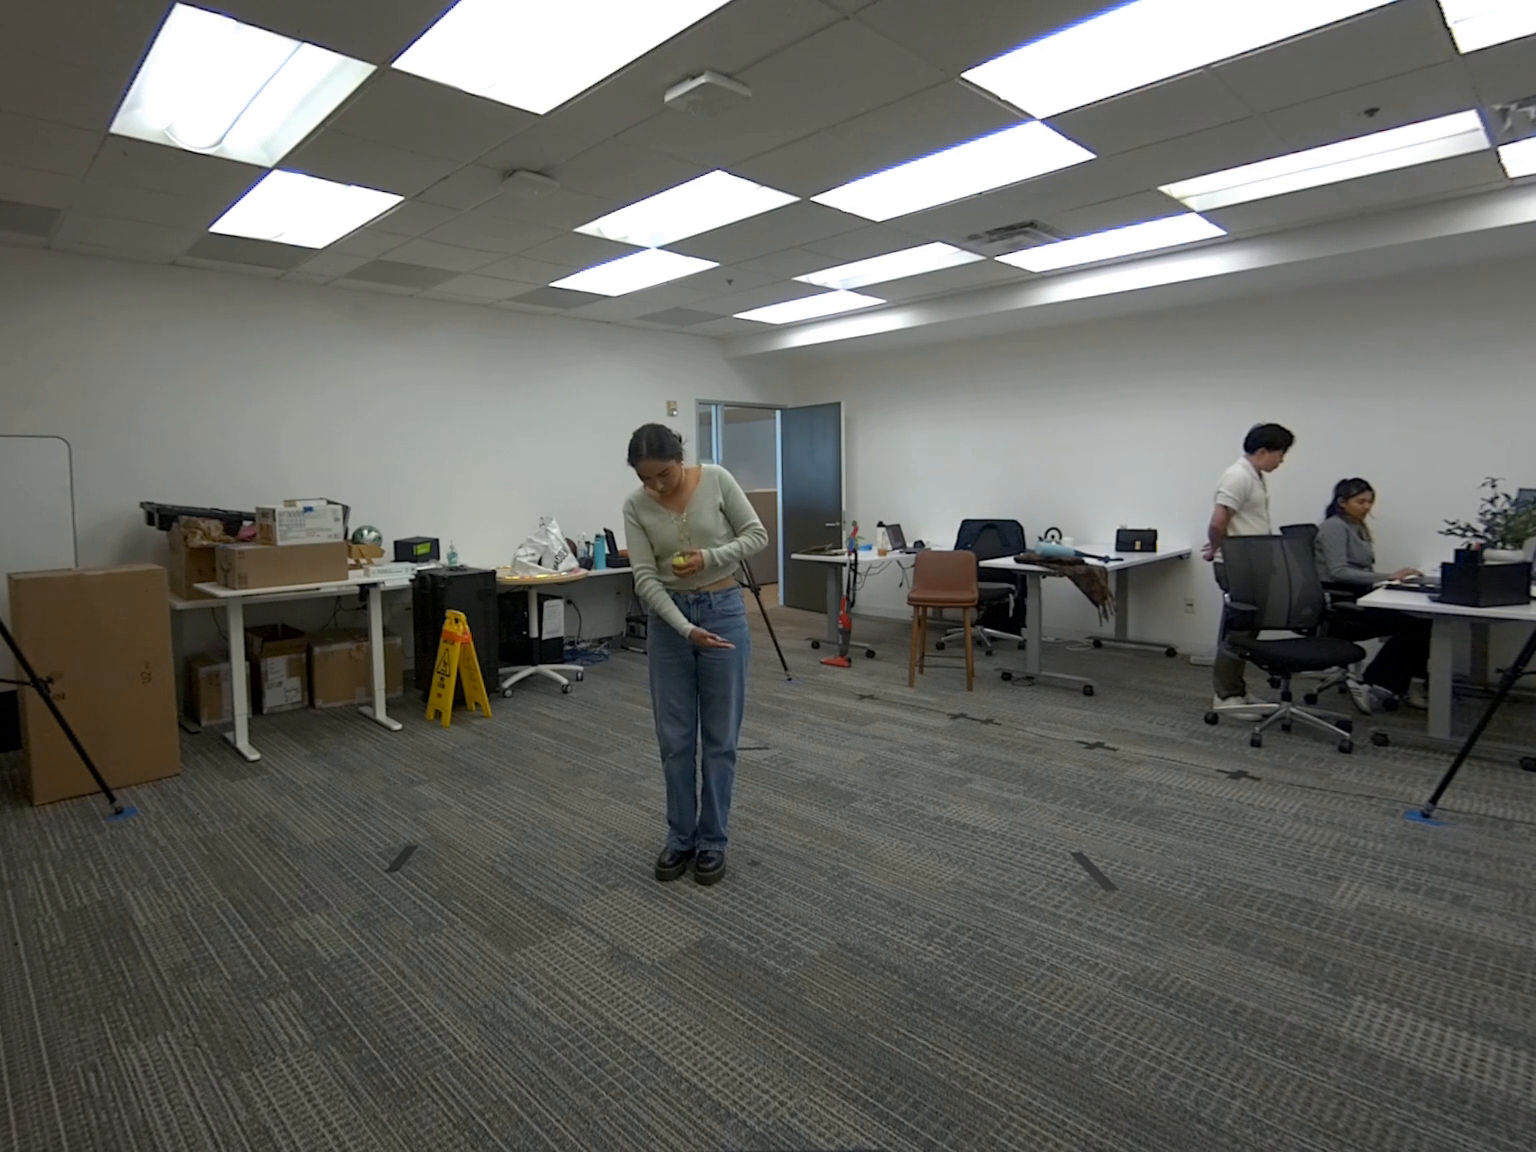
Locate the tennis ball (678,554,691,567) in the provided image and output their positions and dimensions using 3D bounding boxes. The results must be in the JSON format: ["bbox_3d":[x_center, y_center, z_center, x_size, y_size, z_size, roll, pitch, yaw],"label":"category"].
[{"bbox_3d":[-0.240,-0.010,2.878,0.066,0.066,0.067,-1,5,-2],"label":"tennis ball"}]
